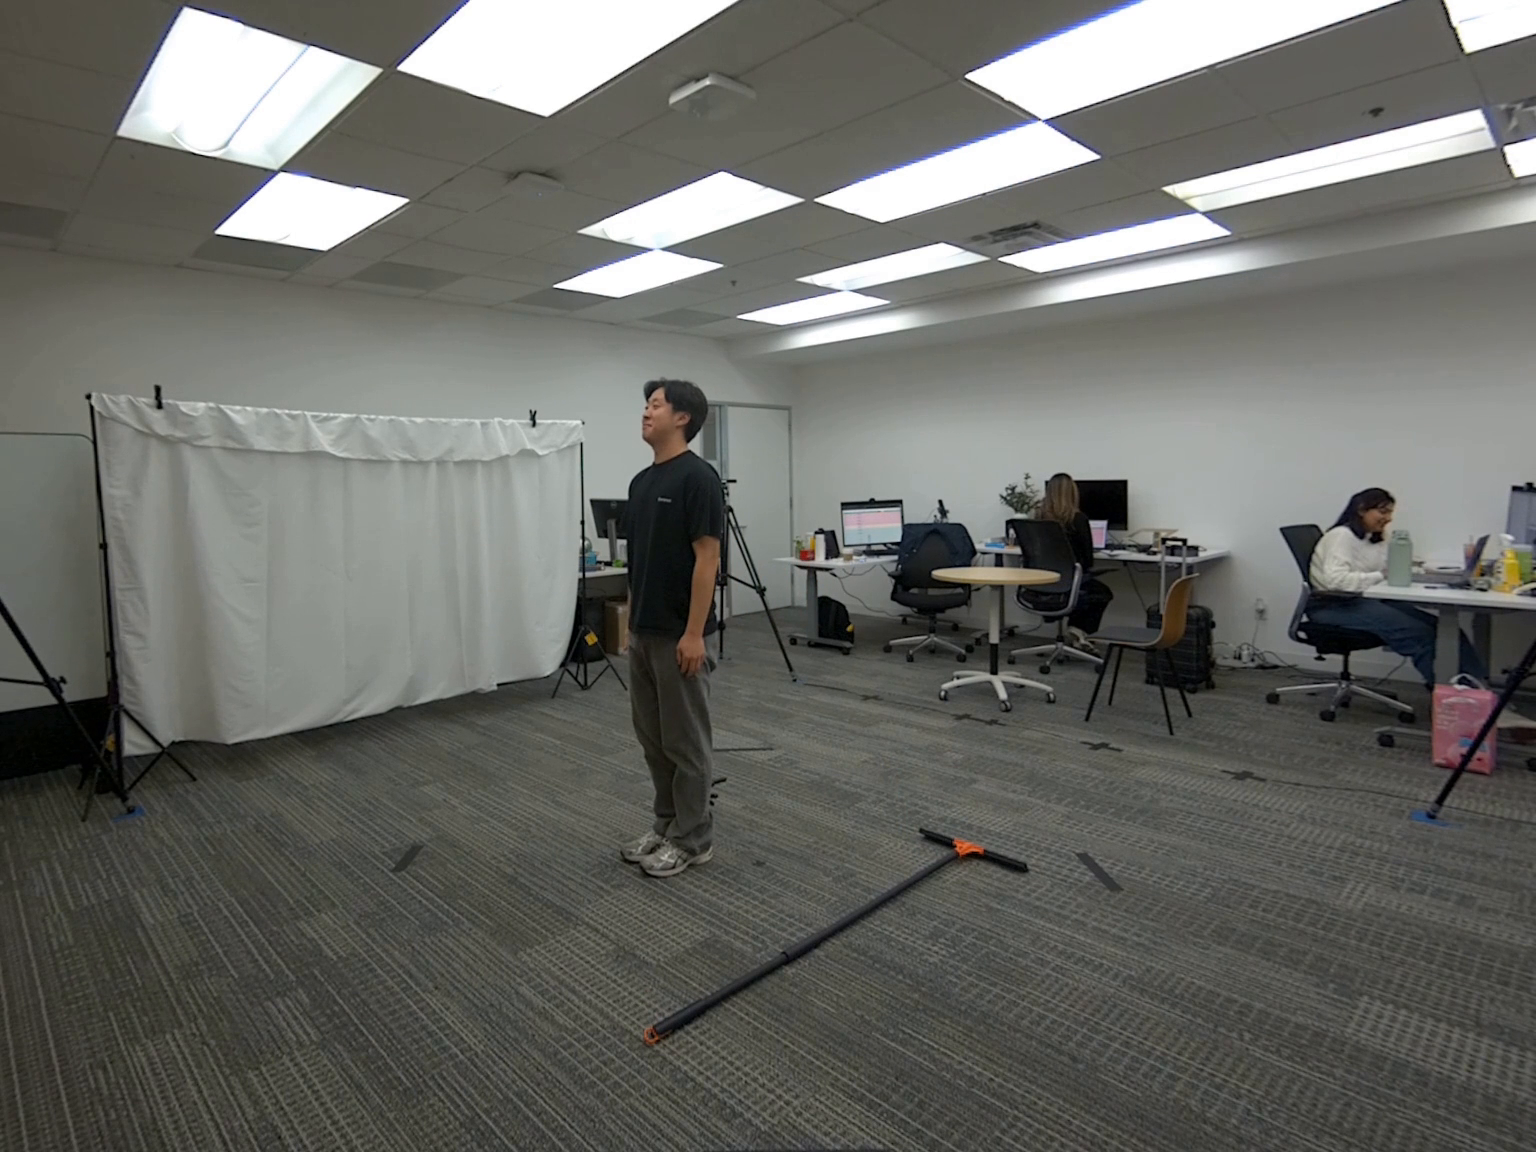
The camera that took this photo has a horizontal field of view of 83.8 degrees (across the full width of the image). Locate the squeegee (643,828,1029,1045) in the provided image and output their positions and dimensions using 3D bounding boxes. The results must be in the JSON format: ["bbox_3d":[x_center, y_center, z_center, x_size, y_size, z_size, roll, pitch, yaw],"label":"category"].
[{"bbox_3d":[0.224,1.056,2.654,1.499,0.053,0.451,-9,9,-43],"label":"squeegee"}]
